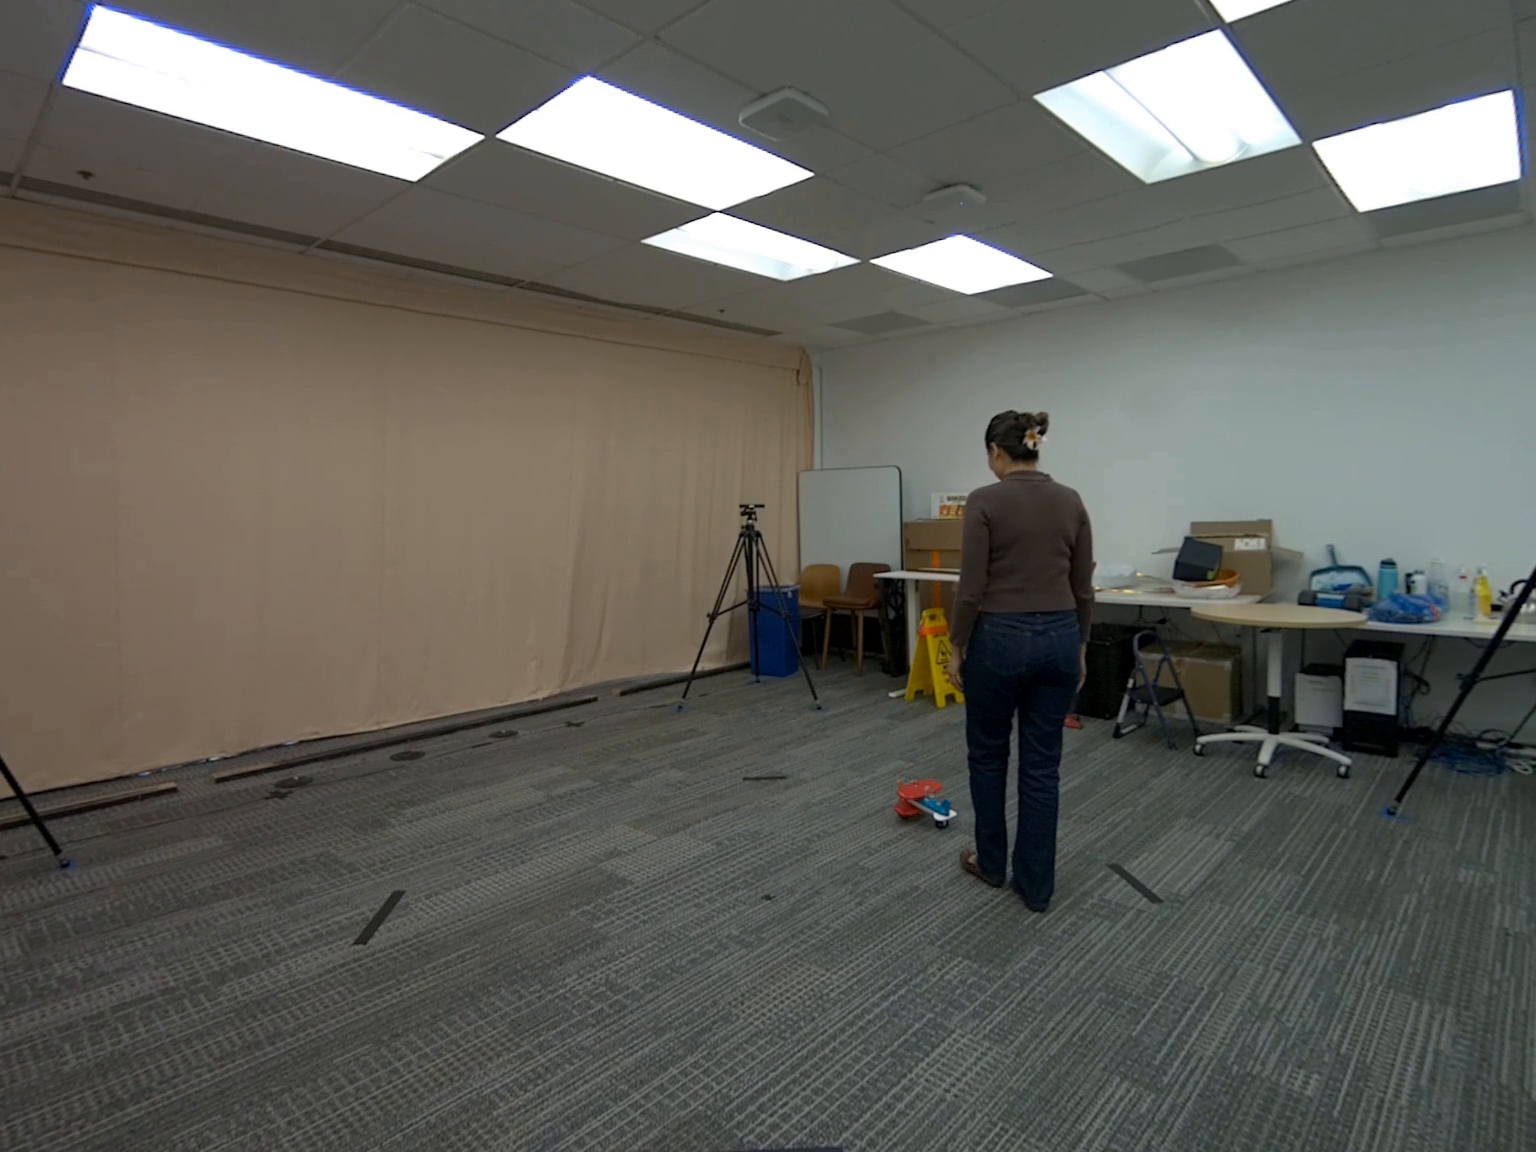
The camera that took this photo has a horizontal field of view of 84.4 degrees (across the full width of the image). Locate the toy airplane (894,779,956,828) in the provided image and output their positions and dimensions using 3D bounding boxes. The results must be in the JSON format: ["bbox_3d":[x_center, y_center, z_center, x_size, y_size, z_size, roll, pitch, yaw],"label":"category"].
[{"bbox_3d":[0.697,0.993,3.681,0.265,0.156,0.245,0,4,24],"label":"toy airplane"}]
